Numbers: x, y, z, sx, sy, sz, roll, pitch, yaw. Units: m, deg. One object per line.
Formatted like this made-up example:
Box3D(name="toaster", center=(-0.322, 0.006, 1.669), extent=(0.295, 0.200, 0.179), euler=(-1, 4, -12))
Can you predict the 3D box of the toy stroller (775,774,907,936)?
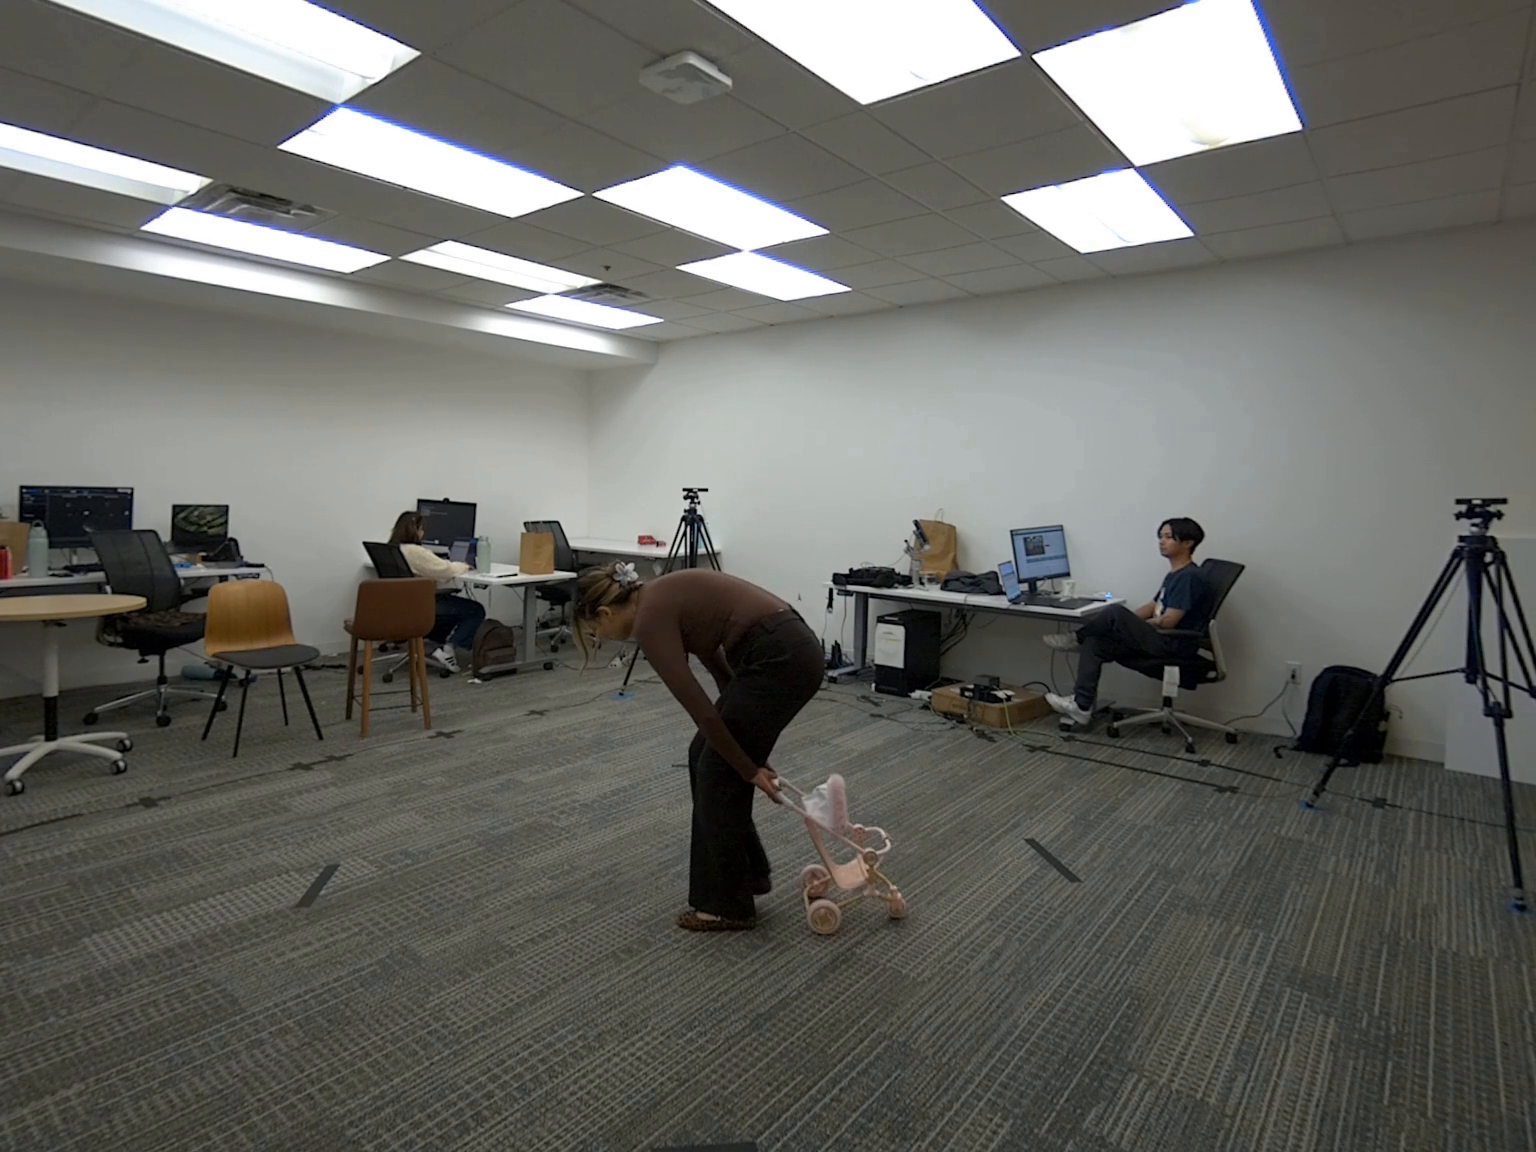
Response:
Box3D(name="toy stroller", center=(0.237, 0.893, 2.770), extent=(0.343, 0.533, 0.281), euler=(-14, 3, 4))
